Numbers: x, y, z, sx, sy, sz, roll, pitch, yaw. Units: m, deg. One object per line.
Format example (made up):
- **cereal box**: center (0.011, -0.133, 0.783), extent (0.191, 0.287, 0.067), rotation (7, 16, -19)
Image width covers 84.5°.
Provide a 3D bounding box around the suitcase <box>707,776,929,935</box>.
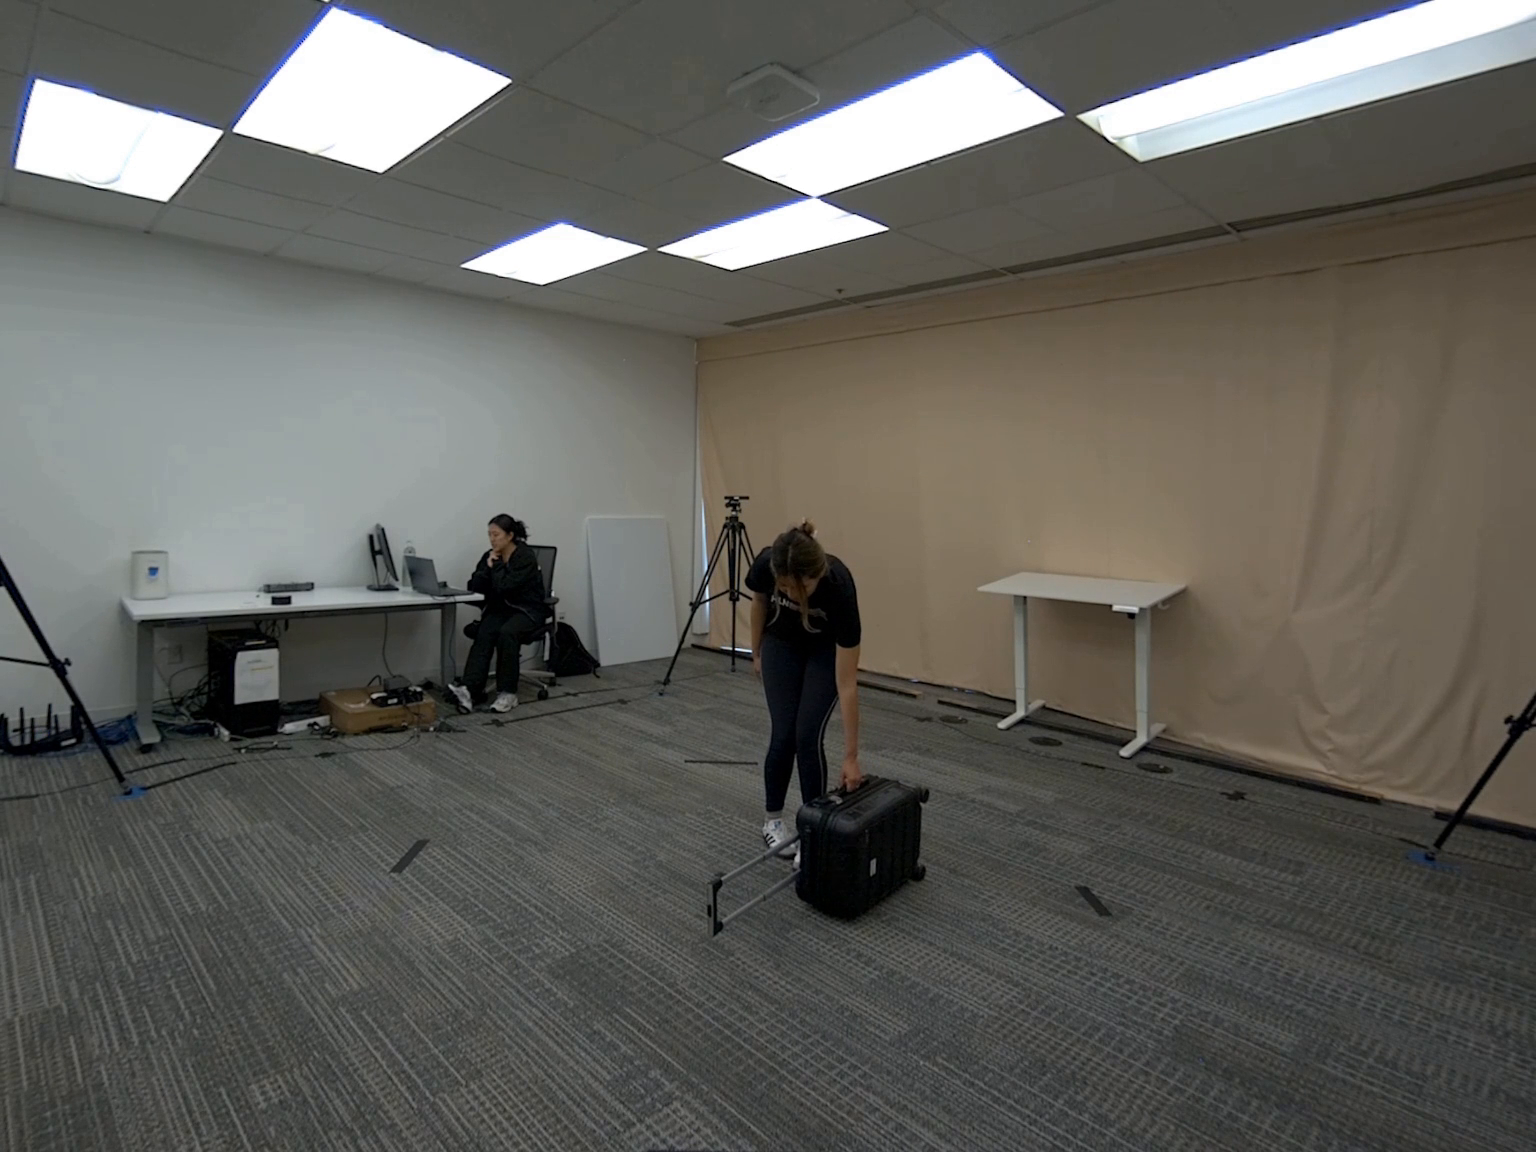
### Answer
- **suitcase**: center (0.206, 0.952, 2.805), extent (0.263, 0.383, 0.958), rotation (5, 6, 36)
